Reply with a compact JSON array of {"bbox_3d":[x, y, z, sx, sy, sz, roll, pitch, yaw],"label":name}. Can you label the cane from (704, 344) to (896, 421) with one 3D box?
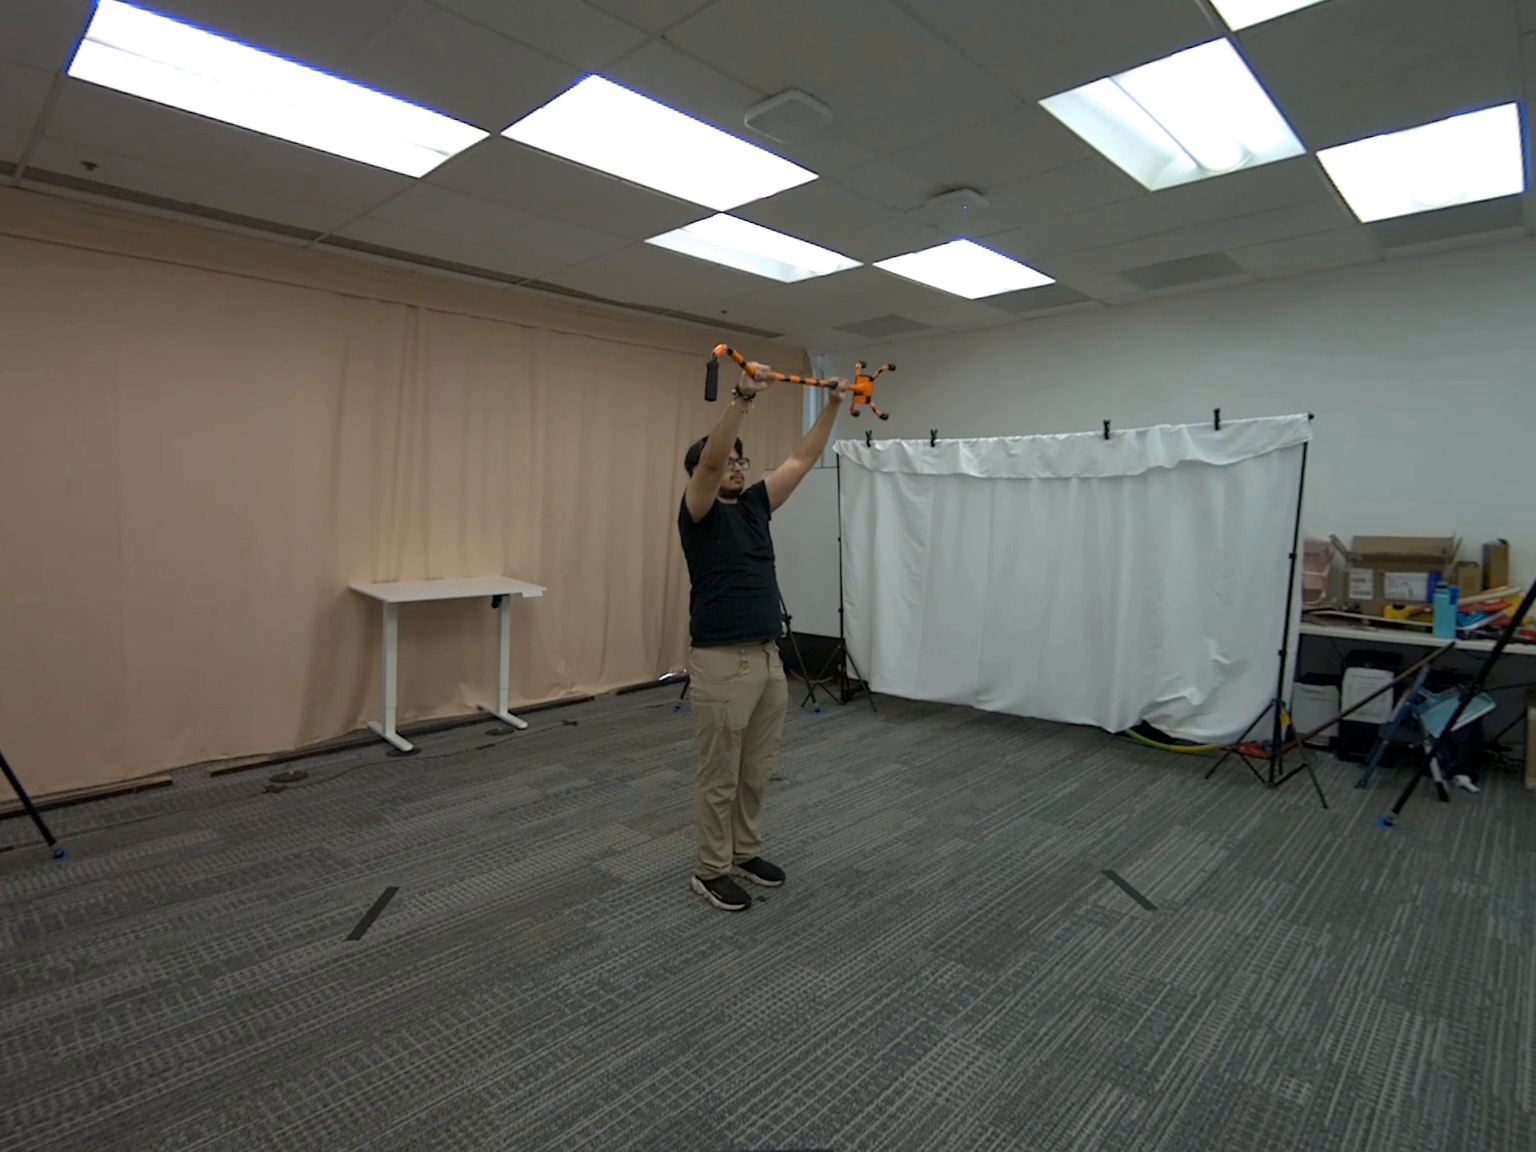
[{"bbox_3d":[0.124,-0.636,2.741,0.157,0.205,0.882,13,13,37],"label":"cane"}]
